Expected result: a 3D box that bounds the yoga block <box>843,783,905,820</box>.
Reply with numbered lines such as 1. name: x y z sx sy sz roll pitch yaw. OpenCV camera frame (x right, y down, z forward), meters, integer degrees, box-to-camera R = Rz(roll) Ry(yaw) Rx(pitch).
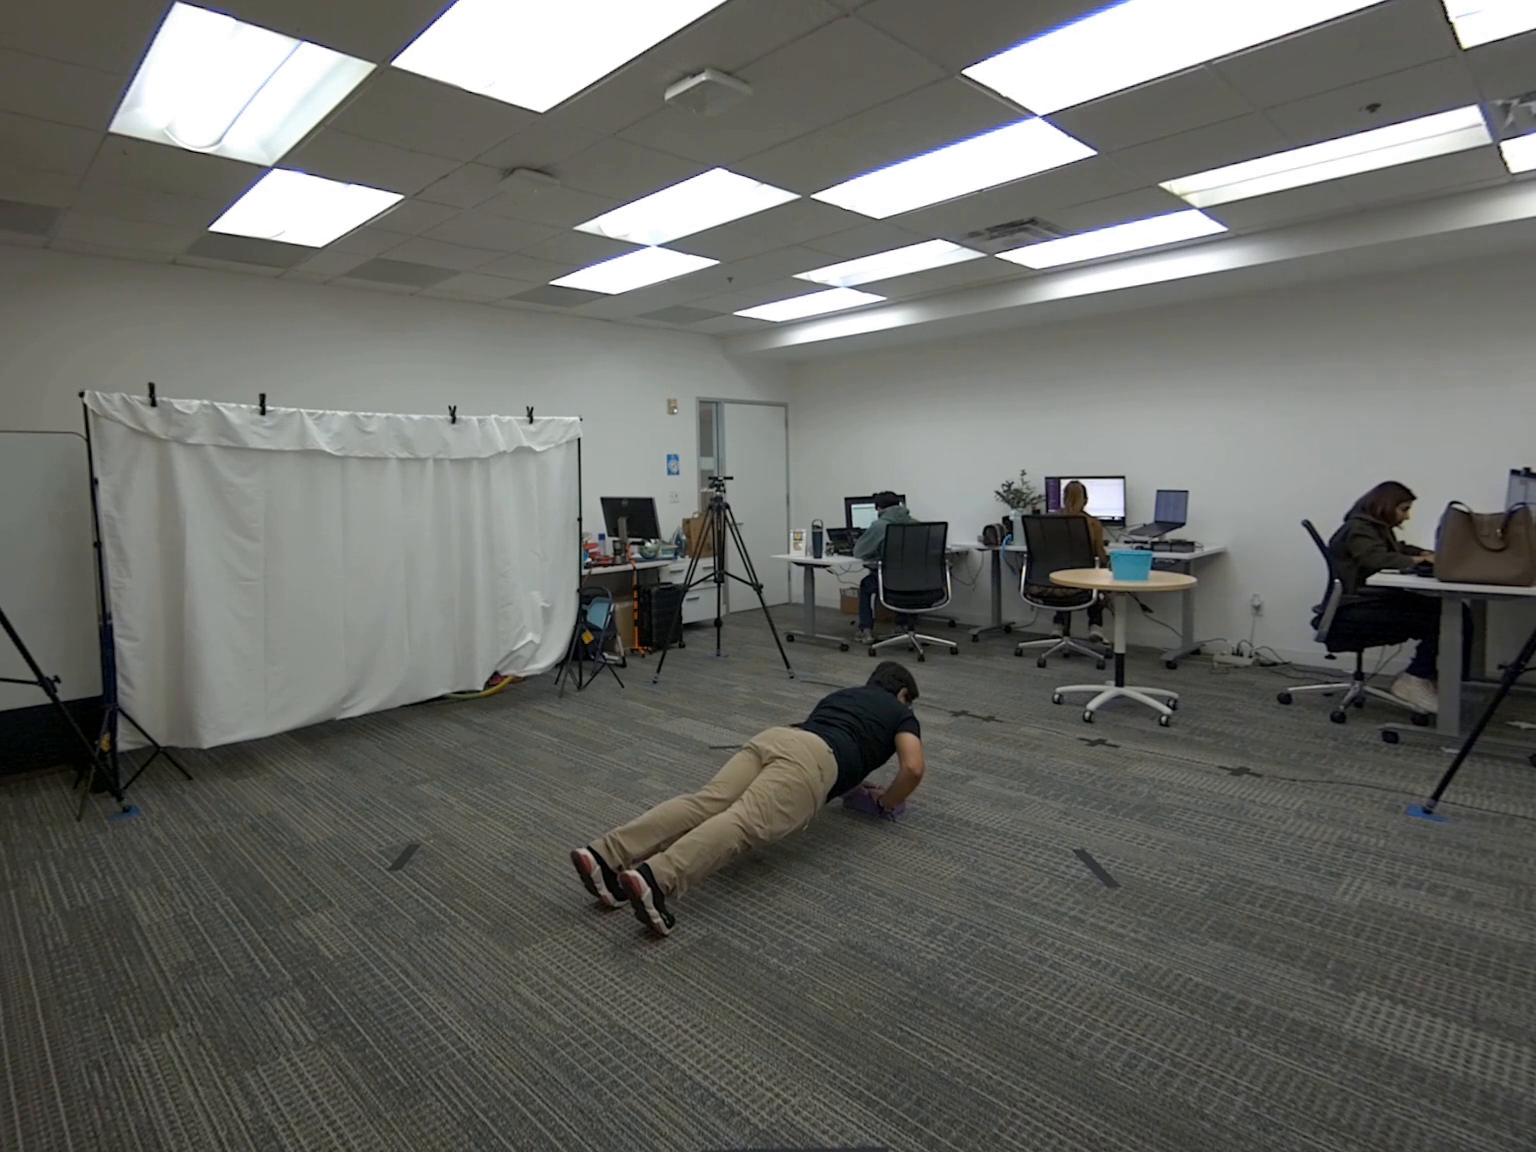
1. yoga block: 0.453 0.939 3.587 0.236 0.076 0.145 5 9 43
